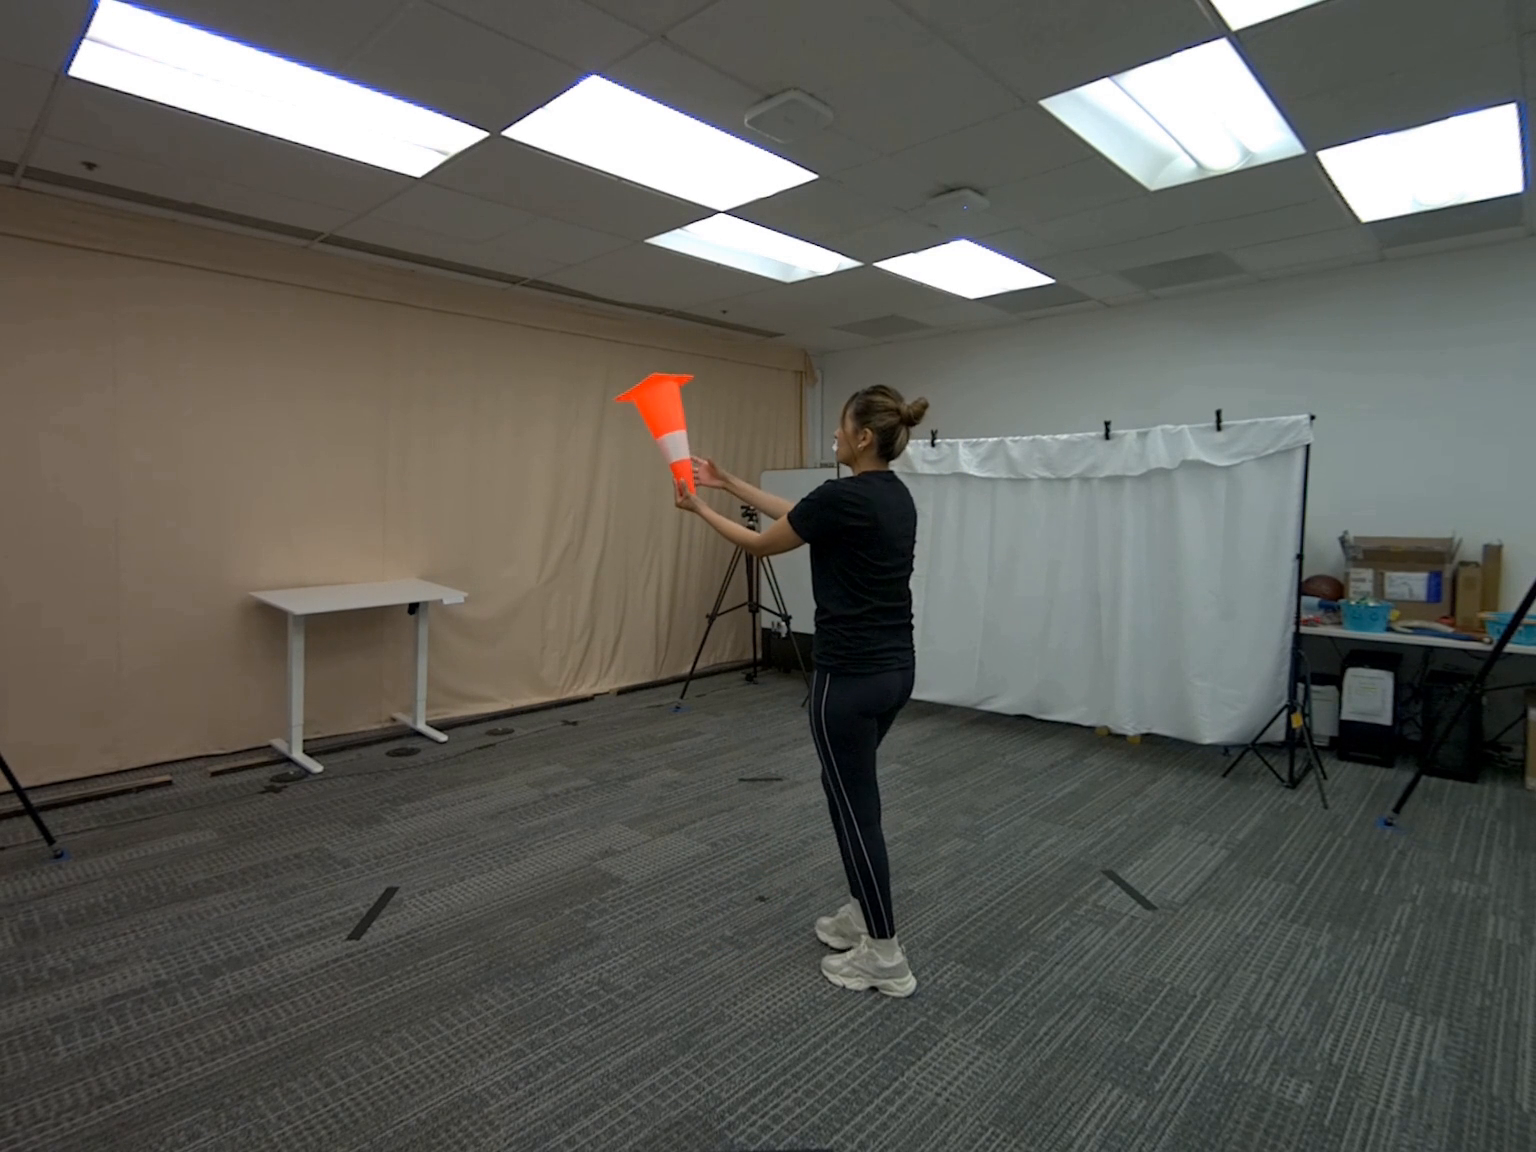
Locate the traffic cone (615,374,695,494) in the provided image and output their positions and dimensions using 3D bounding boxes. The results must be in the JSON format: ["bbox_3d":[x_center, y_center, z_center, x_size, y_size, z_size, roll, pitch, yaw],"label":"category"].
[{"bbox_3d":[-0.297,-0.421,2.667,0.207,0.386,0.199,-22,-7,33],"label":"traffic cone"}]
